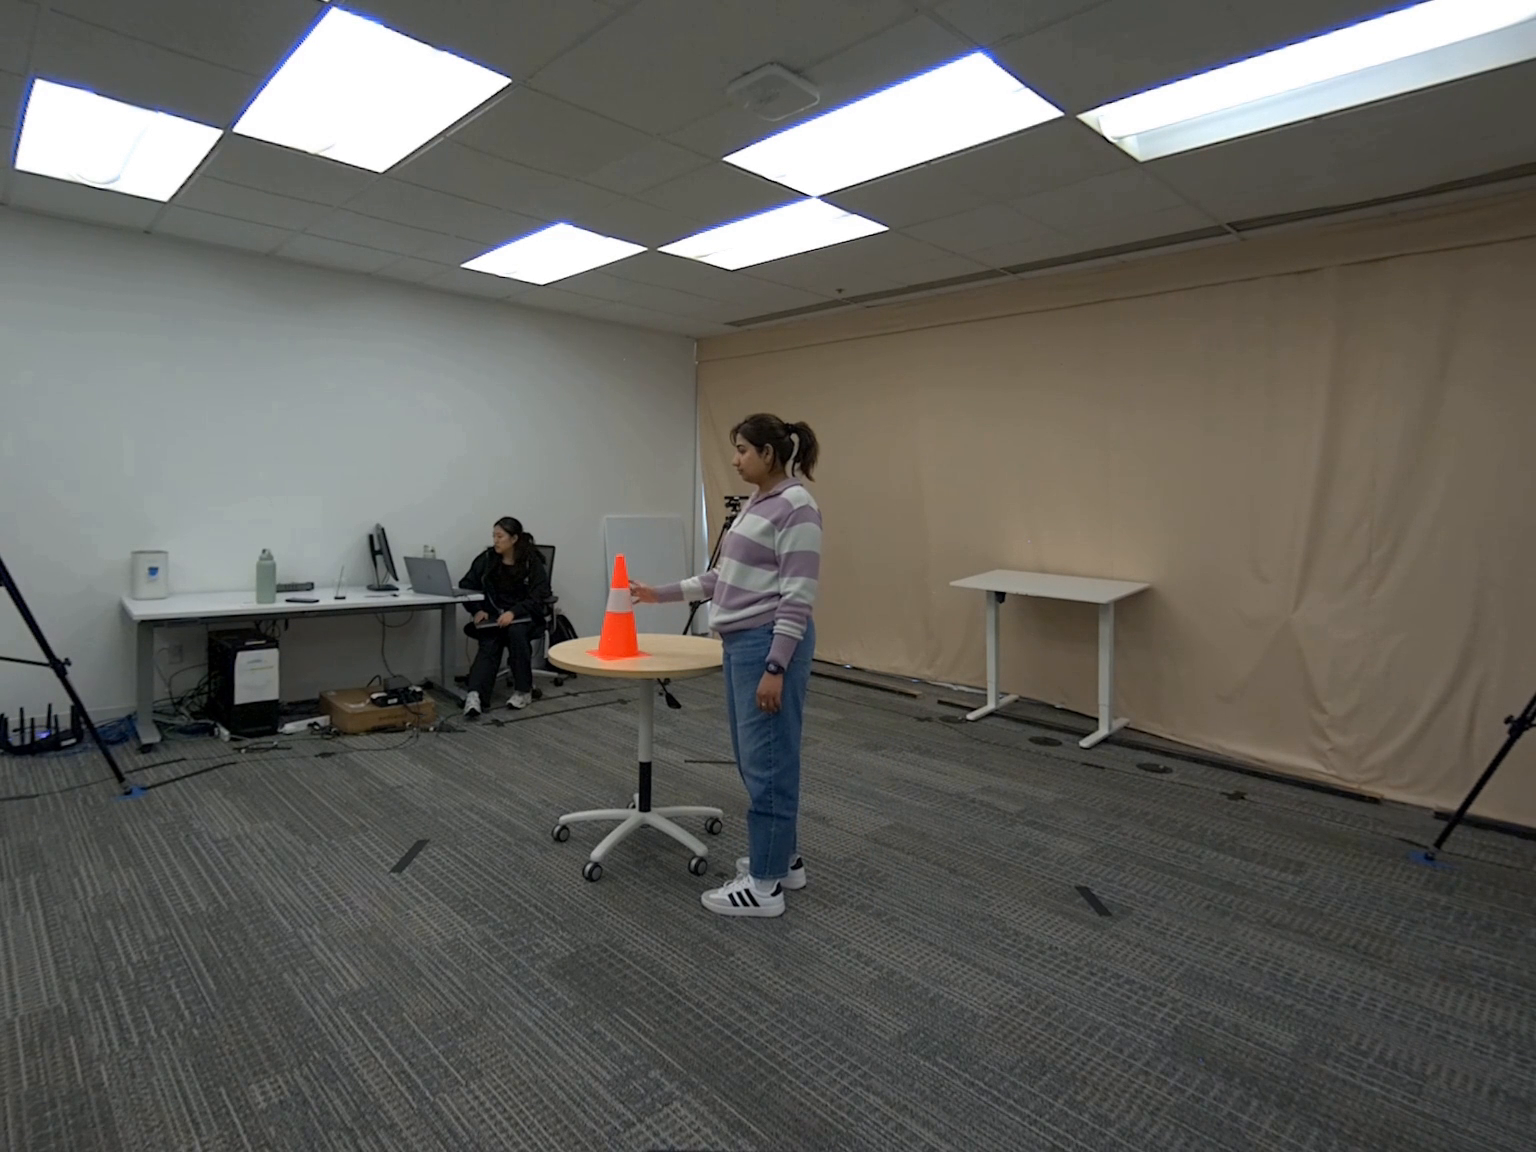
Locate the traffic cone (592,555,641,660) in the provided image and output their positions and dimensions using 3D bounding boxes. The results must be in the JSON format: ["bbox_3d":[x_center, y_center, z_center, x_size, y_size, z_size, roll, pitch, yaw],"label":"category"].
[{"bbox_3d":[-0.567,0.114,3.222,0.200,0.383,0.209,0,4,-42],"label":"traffic cone"}]
